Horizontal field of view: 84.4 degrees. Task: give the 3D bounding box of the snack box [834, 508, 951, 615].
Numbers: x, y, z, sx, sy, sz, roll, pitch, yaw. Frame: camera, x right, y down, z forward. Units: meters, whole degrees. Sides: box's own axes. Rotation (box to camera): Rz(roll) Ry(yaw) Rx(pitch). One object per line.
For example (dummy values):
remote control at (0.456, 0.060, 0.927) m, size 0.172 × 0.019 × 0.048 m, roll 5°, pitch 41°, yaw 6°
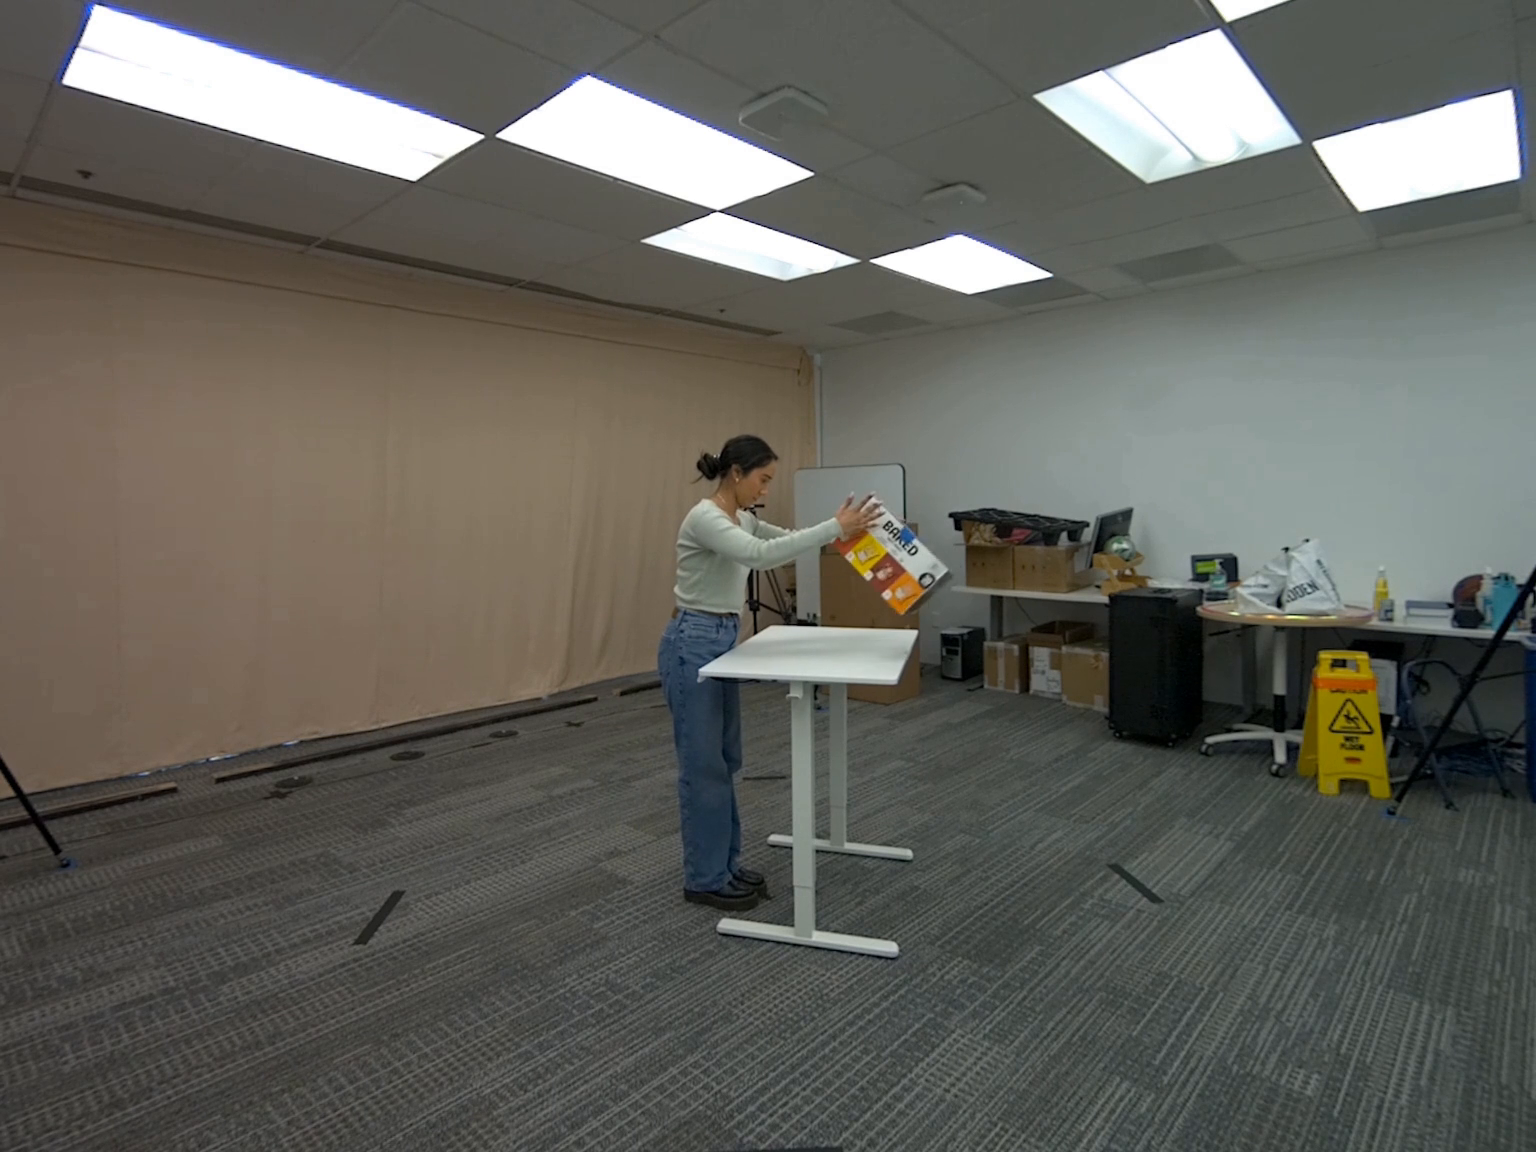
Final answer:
snack box at (0.415, -0.072, 2.822) m, size 0.206 × 0.346 × 0.397 m, roll -45°, pitch -13°, yaw 8°
